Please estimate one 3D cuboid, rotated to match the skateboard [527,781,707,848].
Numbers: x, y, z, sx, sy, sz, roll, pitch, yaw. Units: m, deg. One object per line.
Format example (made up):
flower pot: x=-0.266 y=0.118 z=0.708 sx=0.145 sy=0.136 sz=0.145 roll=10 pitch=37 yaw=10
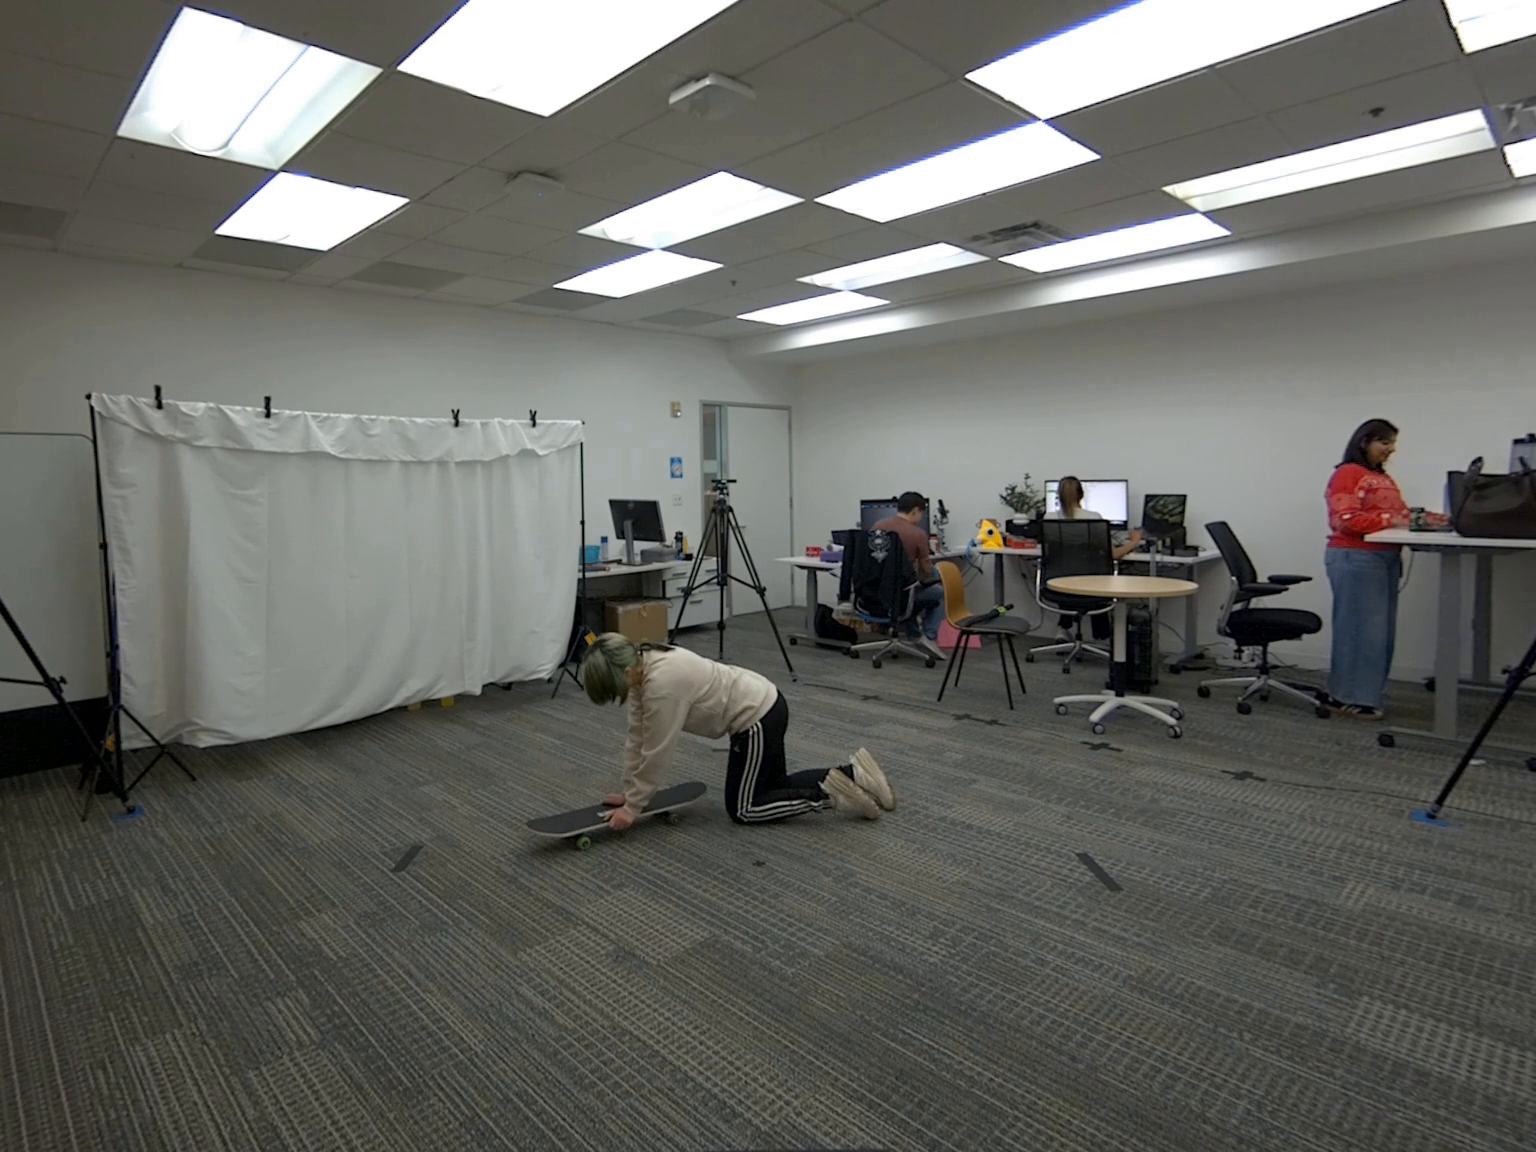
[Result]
skateboard: x=-0.581 y=0.965 z=3.434 sx=0.766 sy=0.110 sz=0.199 roll=-5 pitch=7 yaw=-34
